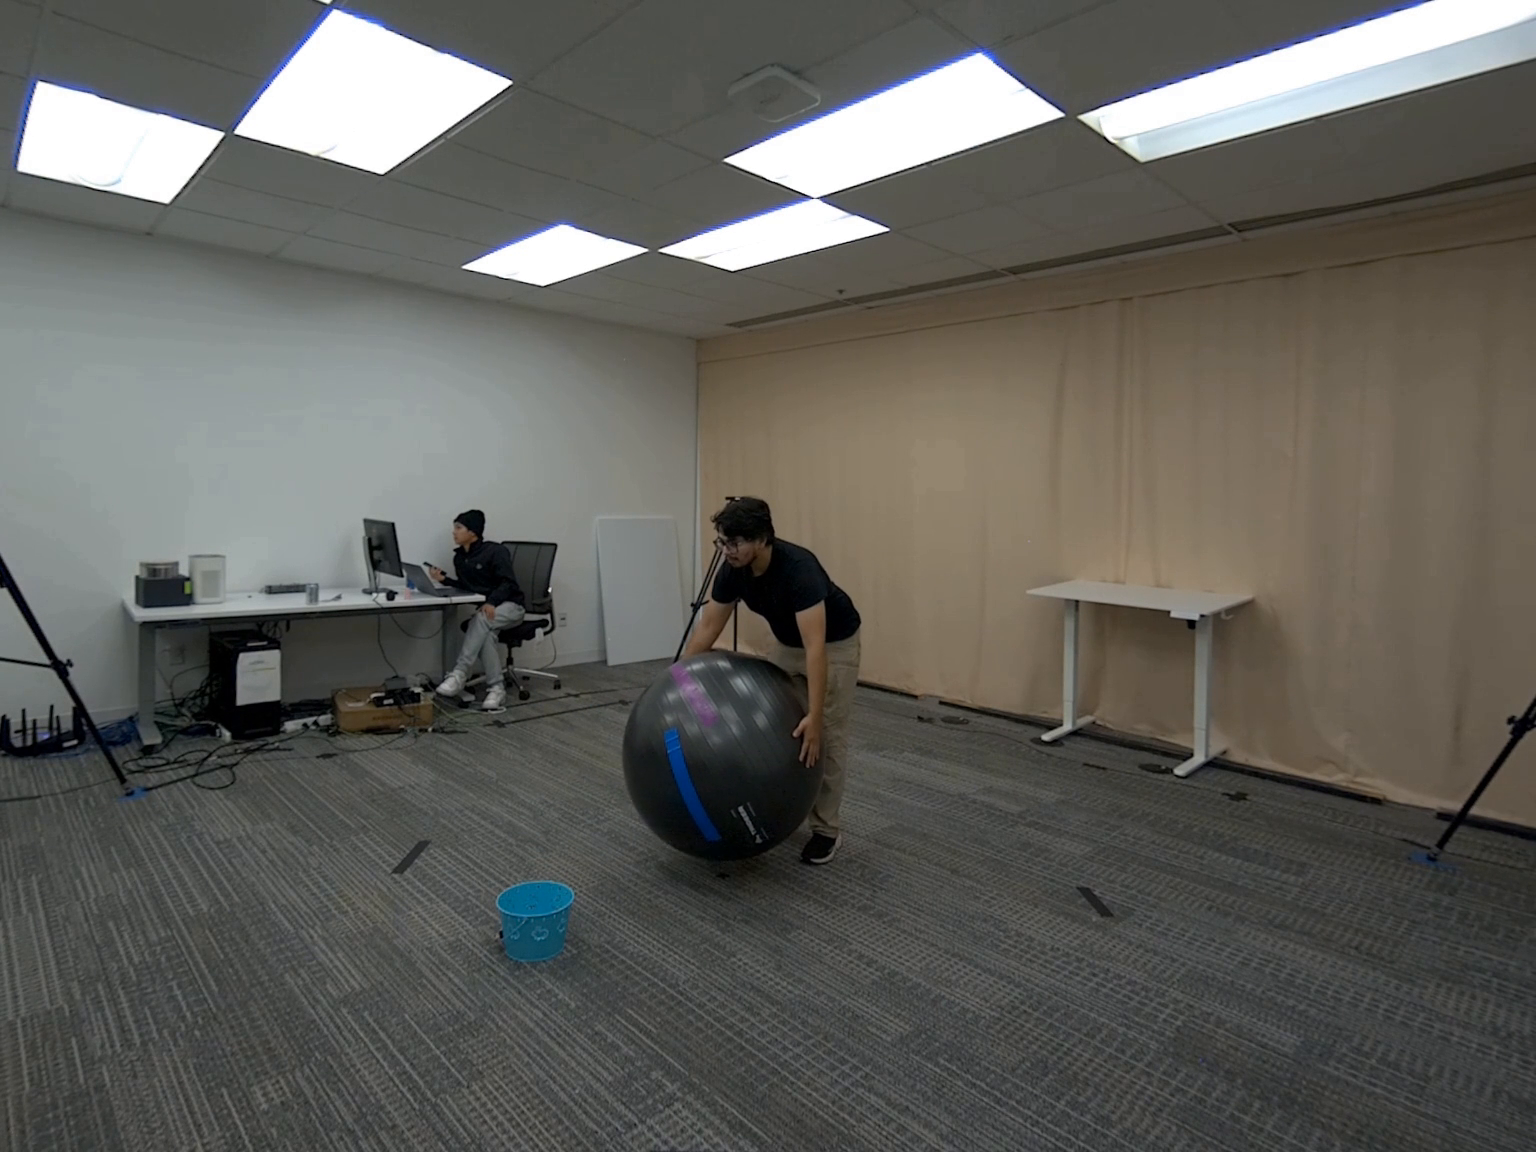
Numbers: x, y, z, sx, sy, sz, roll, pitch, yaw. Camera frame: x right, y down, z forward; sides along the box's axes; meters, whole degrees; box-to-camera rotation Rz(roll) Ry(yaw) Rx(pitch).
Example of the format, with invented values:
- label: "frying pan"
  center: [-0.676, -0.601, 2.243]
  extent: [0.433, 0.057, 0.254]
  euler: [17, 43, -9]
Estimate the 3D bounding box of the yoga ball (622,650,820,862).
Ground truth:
- label: "yoga ball"
  center: [-0.169, 0.665, 3.147]
  extent: [0.757, 0.756, 0.761]
  euler: [1, 4, -1]
